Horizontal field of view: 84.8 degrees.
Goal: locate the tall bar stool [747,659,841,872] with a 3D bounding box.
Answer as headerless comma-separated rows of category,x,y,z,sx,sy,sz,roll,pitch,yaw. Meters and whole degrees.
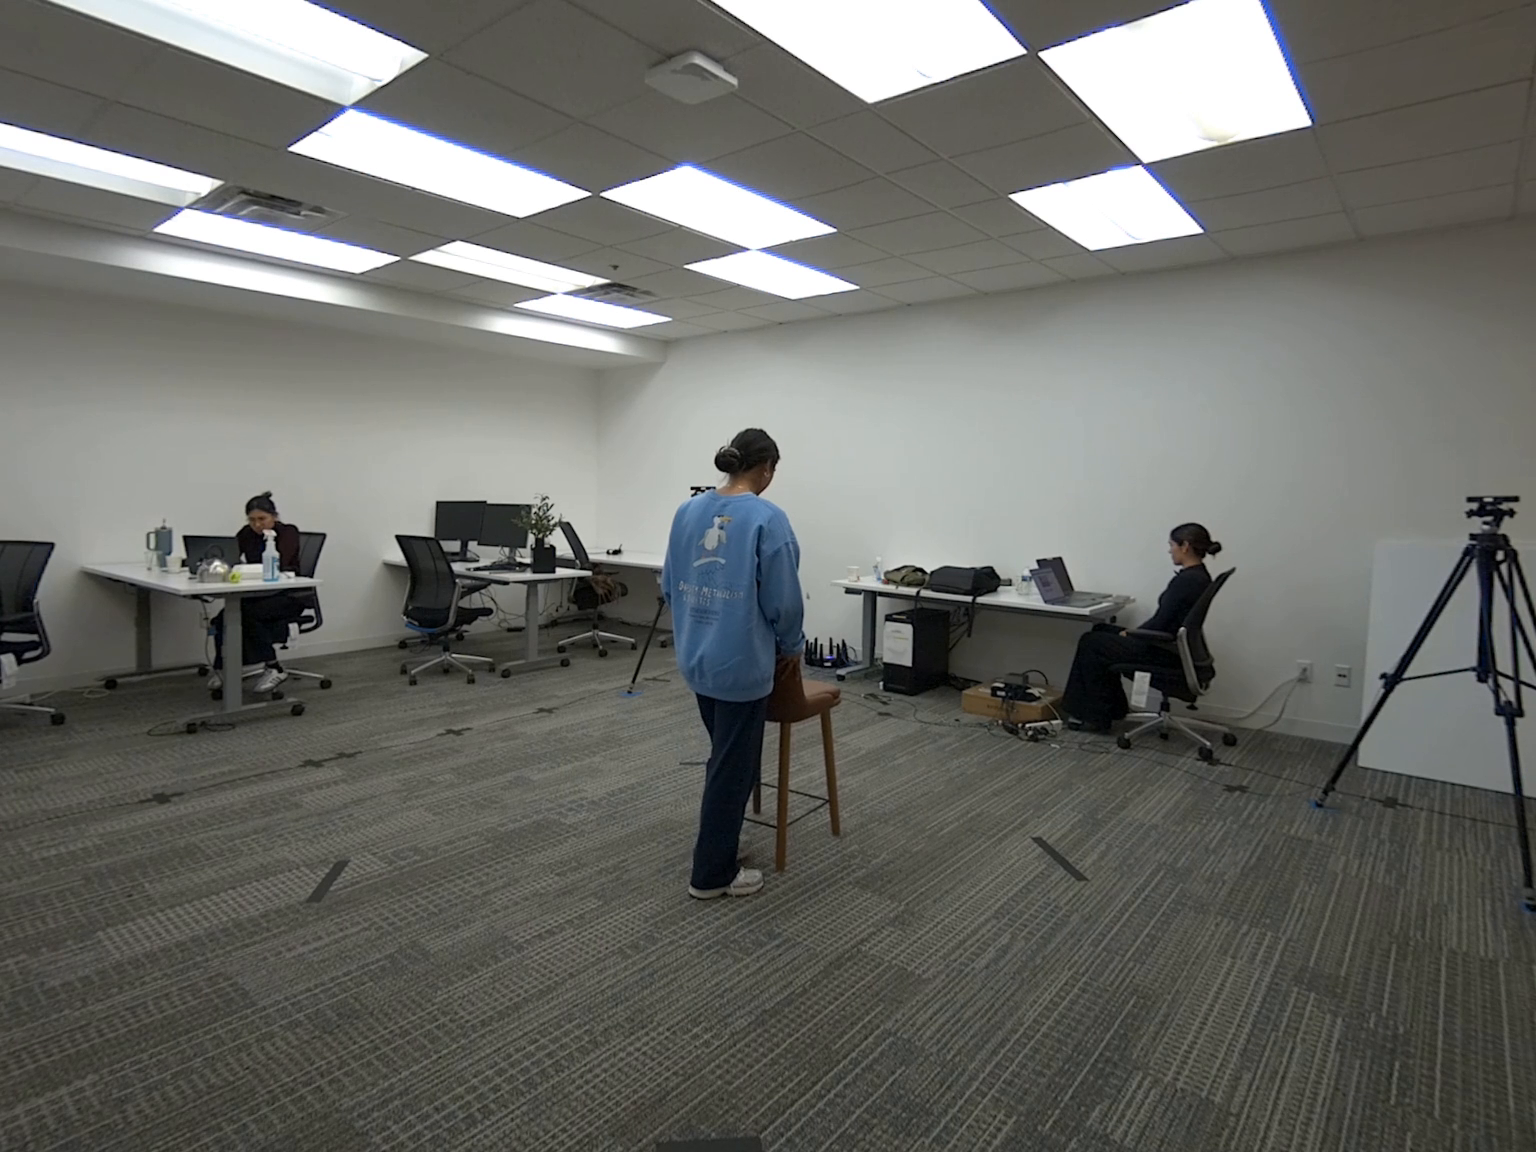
tall bar stool,0.001,0.605,3.347,0.471,0.886,0.455,3,6,34
